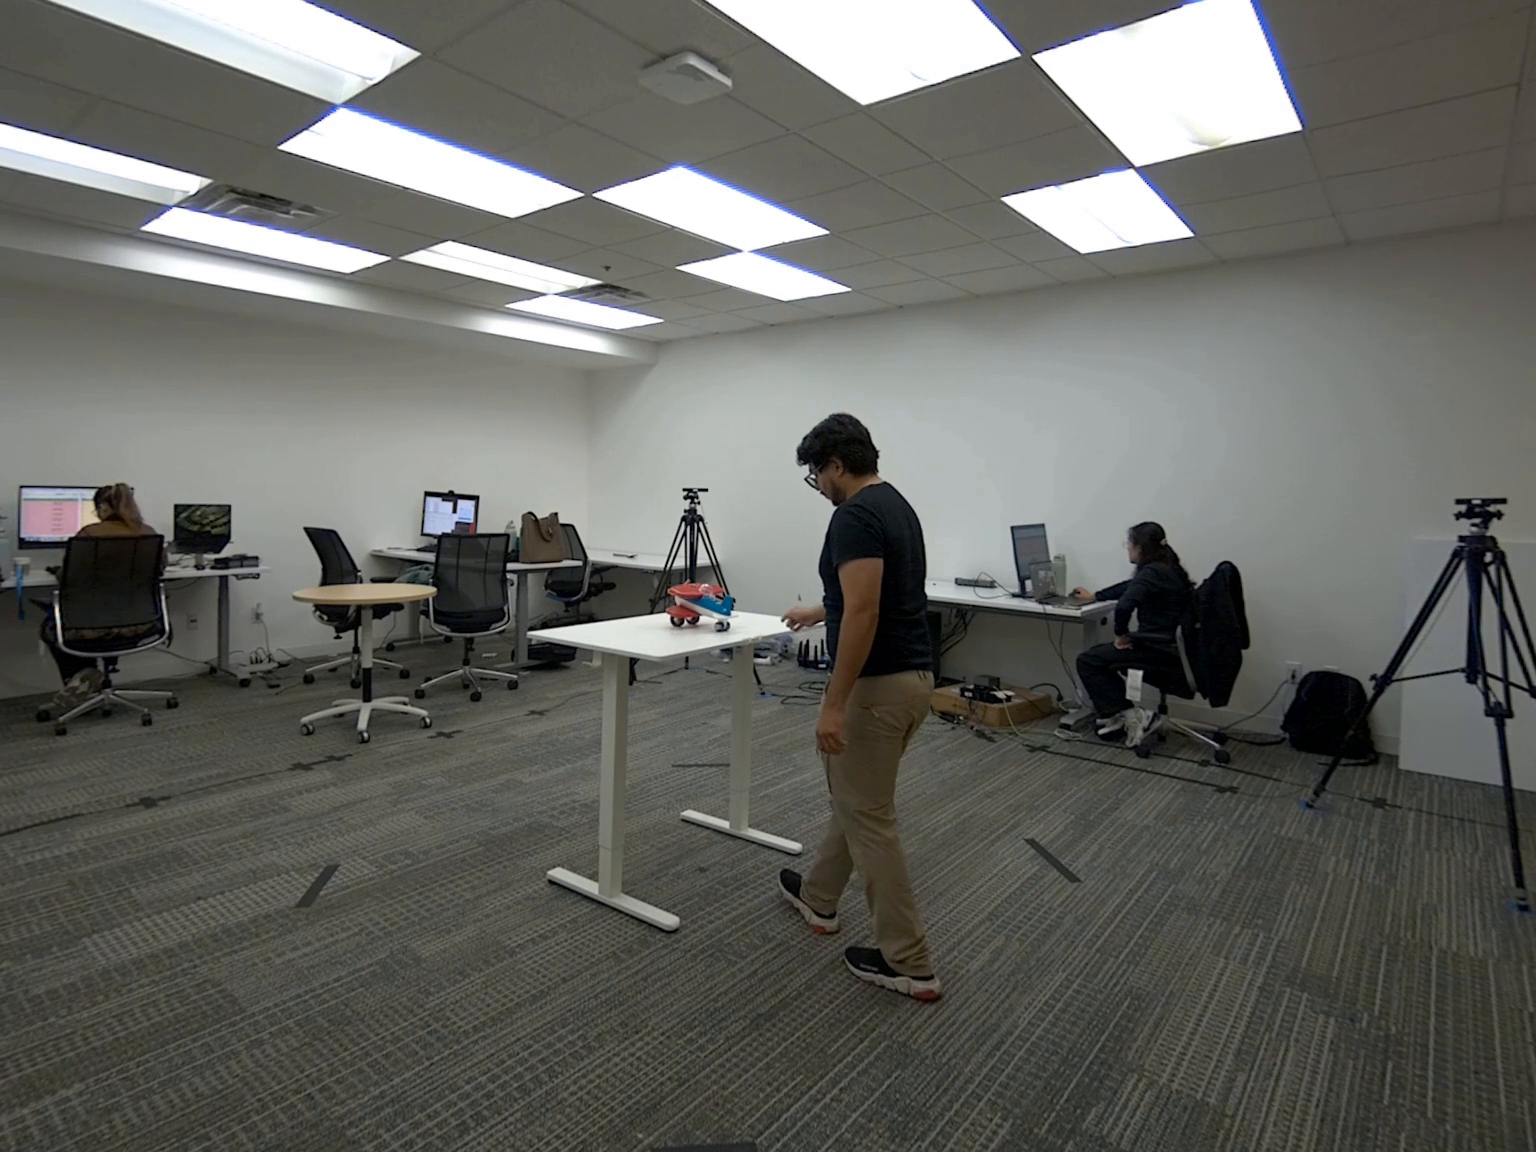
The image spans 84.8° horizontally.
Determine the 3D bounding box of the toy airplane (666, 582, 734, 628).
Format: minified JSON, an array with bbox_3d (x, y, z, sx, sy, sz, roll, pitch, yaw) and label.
[{"bbox_3d":[-0.241,0.109,3.109,0.262,0.156,0.249,1,5,9],"label":"toy airplane"}]
